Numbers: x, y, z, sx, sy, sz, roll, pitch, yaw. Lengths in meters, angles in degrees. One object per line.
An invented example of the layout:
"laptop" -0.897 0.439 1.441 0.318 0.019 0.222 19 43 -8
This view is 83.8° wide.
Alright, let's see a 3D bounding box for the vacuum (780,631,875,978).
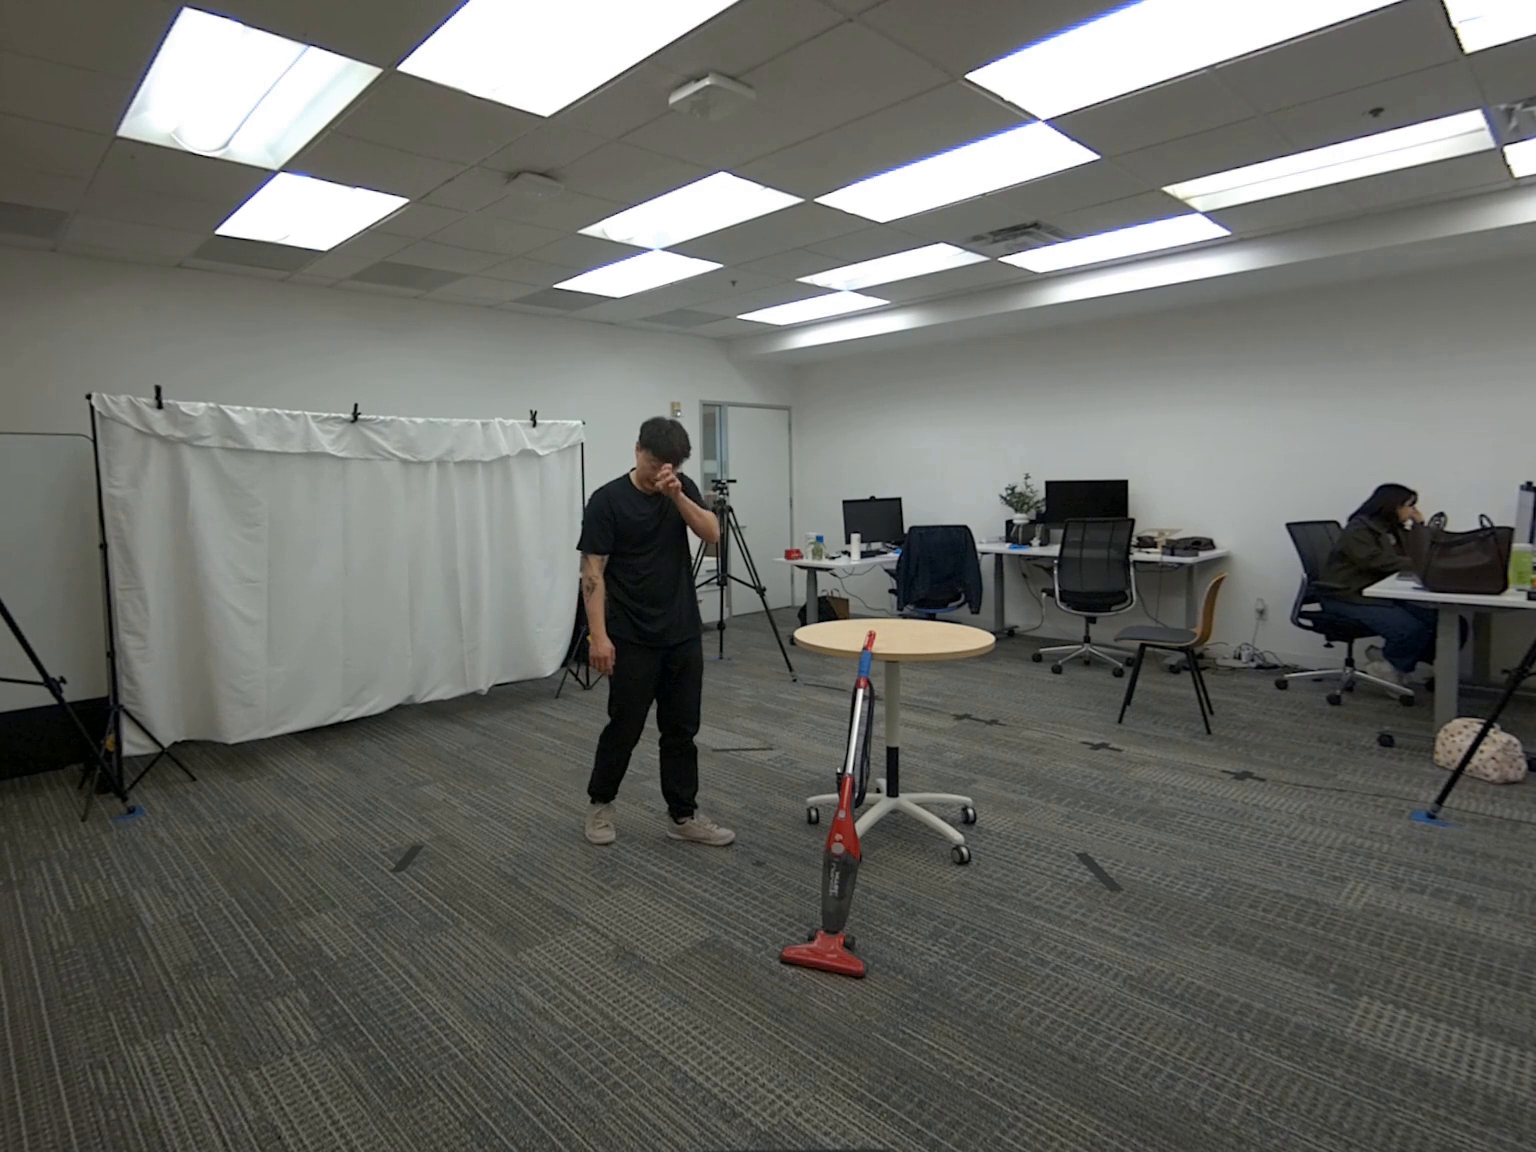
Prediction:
"vacuum" 0.272 0.661 2.751 0.258 1.067 0.138 -1 -33 22
